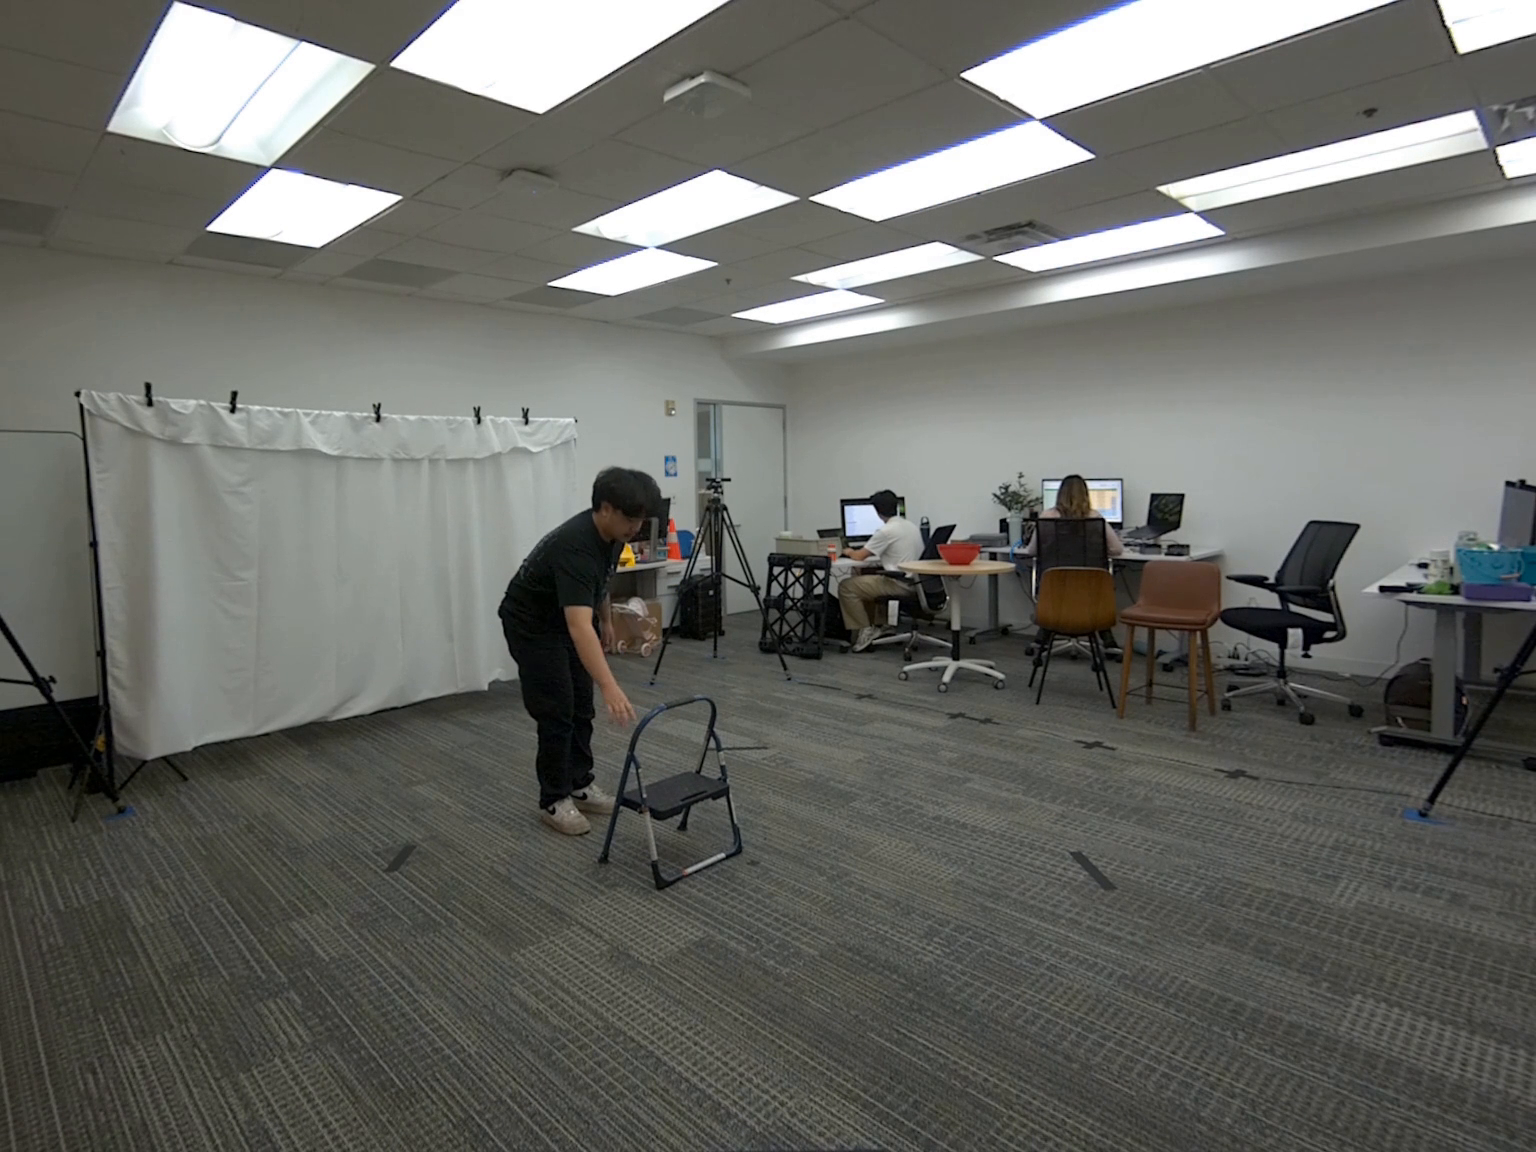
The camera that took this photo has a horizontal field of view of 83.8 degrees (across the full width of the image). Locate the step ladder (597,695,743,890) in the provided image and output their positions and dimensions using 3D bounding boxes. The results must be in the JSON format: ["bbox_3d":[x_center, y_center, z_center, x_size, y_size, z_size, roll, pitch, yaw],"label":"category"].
[{"bbox_3d":[-0.360,0.739,3.148,0.360,0.604,0.419,2,6,43],"label":"step ladder"}]
